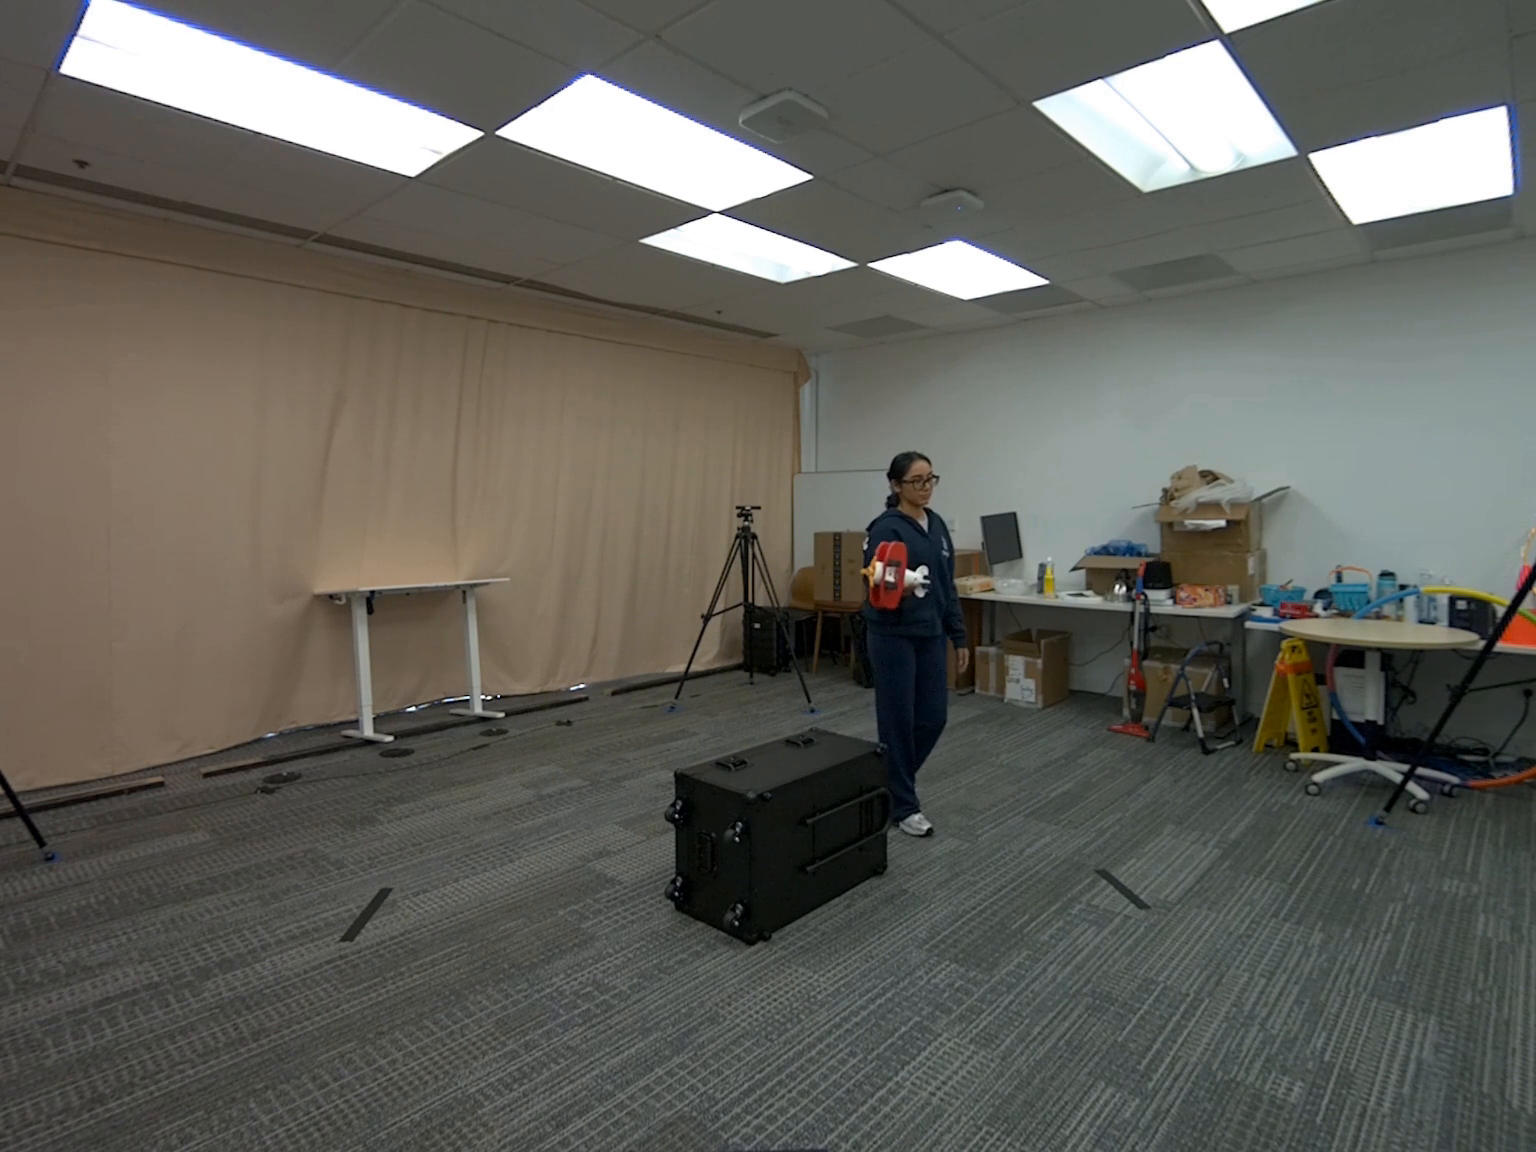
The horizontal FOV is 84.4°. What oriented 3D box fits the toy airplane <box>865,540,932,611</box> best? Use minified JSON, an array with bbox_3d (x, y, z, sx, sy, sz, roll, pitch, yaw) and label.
[{"bbox_3d":[0.509,0.015,3.219,0.252,0.251,0.161,43,-21,-28],"label":"toy airplane"}]
